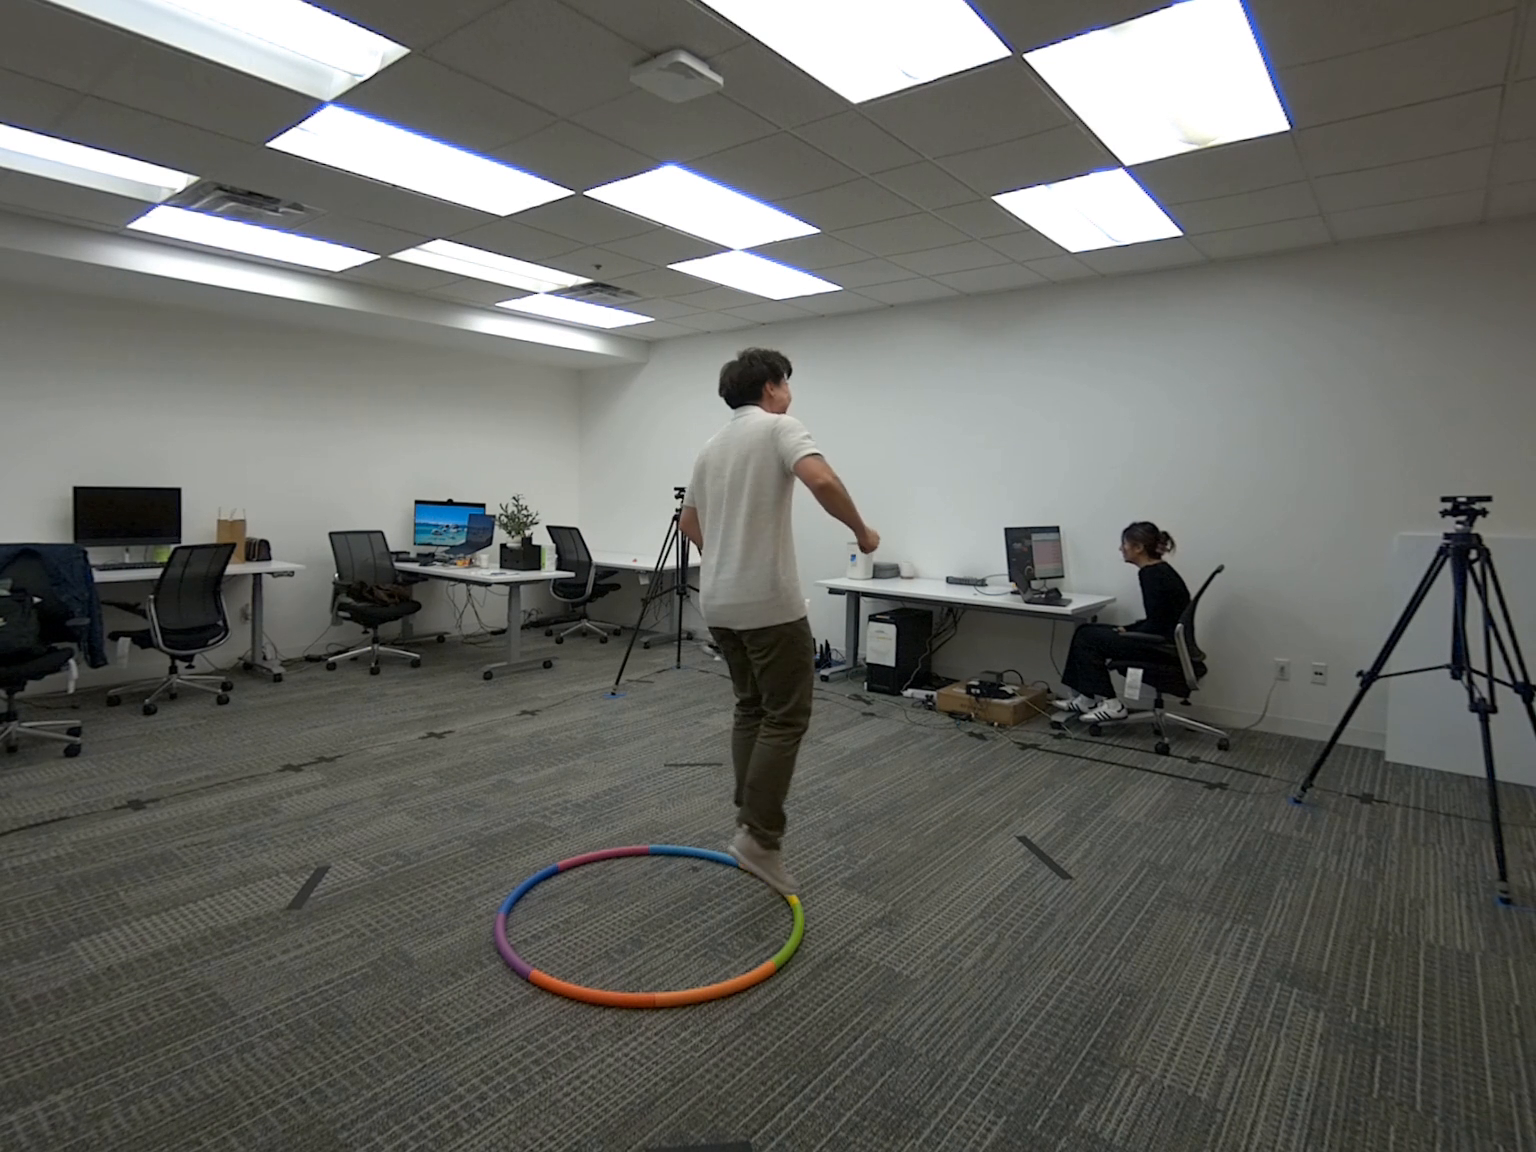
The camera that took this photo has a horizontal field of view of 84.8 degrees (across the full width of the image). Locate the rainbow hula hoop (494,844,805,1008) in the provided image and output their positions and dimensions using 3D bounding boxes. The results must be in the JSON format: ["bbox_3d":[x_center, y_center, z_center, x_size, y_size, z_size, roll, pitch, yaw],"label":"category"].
[{"bbox_3d":[-0.382,1.069,2.749,0.978,0.035,0.984,1,5,-2],"label":"rainbow hula hoop"}]
